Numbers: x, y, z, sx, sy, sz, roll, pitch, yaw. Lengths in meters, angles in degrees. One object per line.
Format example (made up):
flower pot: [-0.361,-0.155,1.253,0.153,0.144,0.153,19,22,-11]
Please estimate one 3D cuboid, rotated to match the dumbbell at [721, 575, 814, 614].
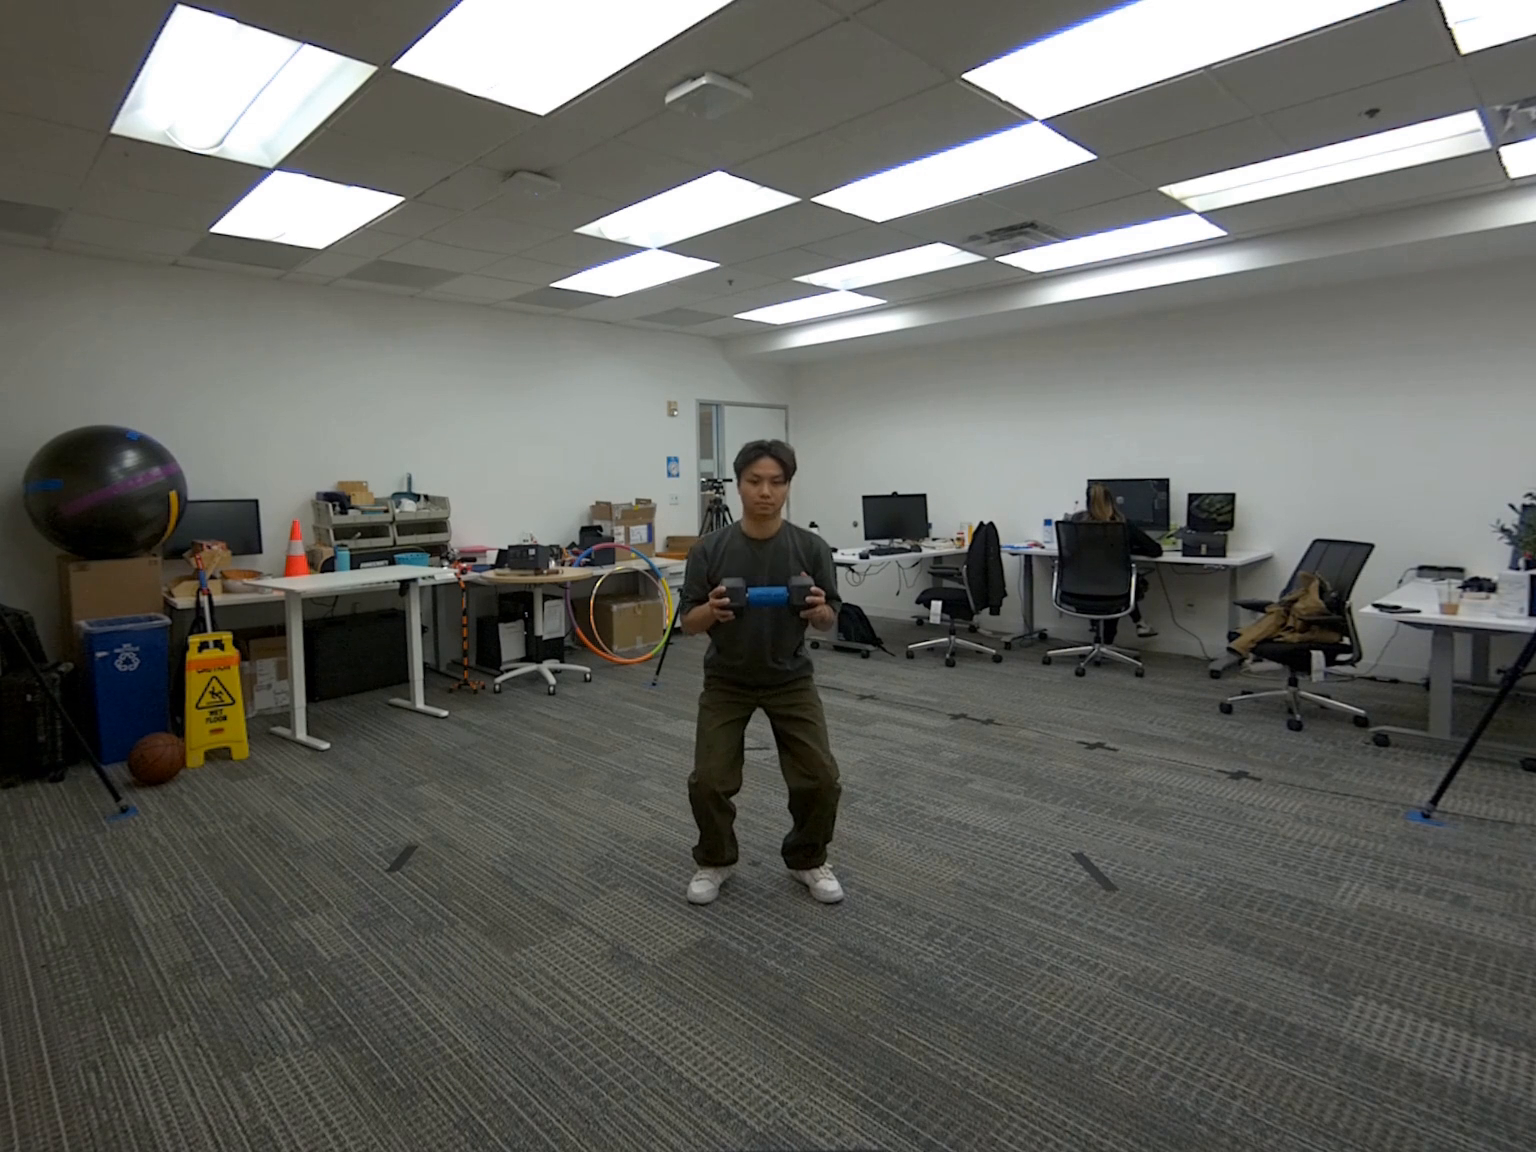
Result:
dumbbell: [-0.029,0.068,2.661,0.294,0.112,0.119,-4,-41,0]
